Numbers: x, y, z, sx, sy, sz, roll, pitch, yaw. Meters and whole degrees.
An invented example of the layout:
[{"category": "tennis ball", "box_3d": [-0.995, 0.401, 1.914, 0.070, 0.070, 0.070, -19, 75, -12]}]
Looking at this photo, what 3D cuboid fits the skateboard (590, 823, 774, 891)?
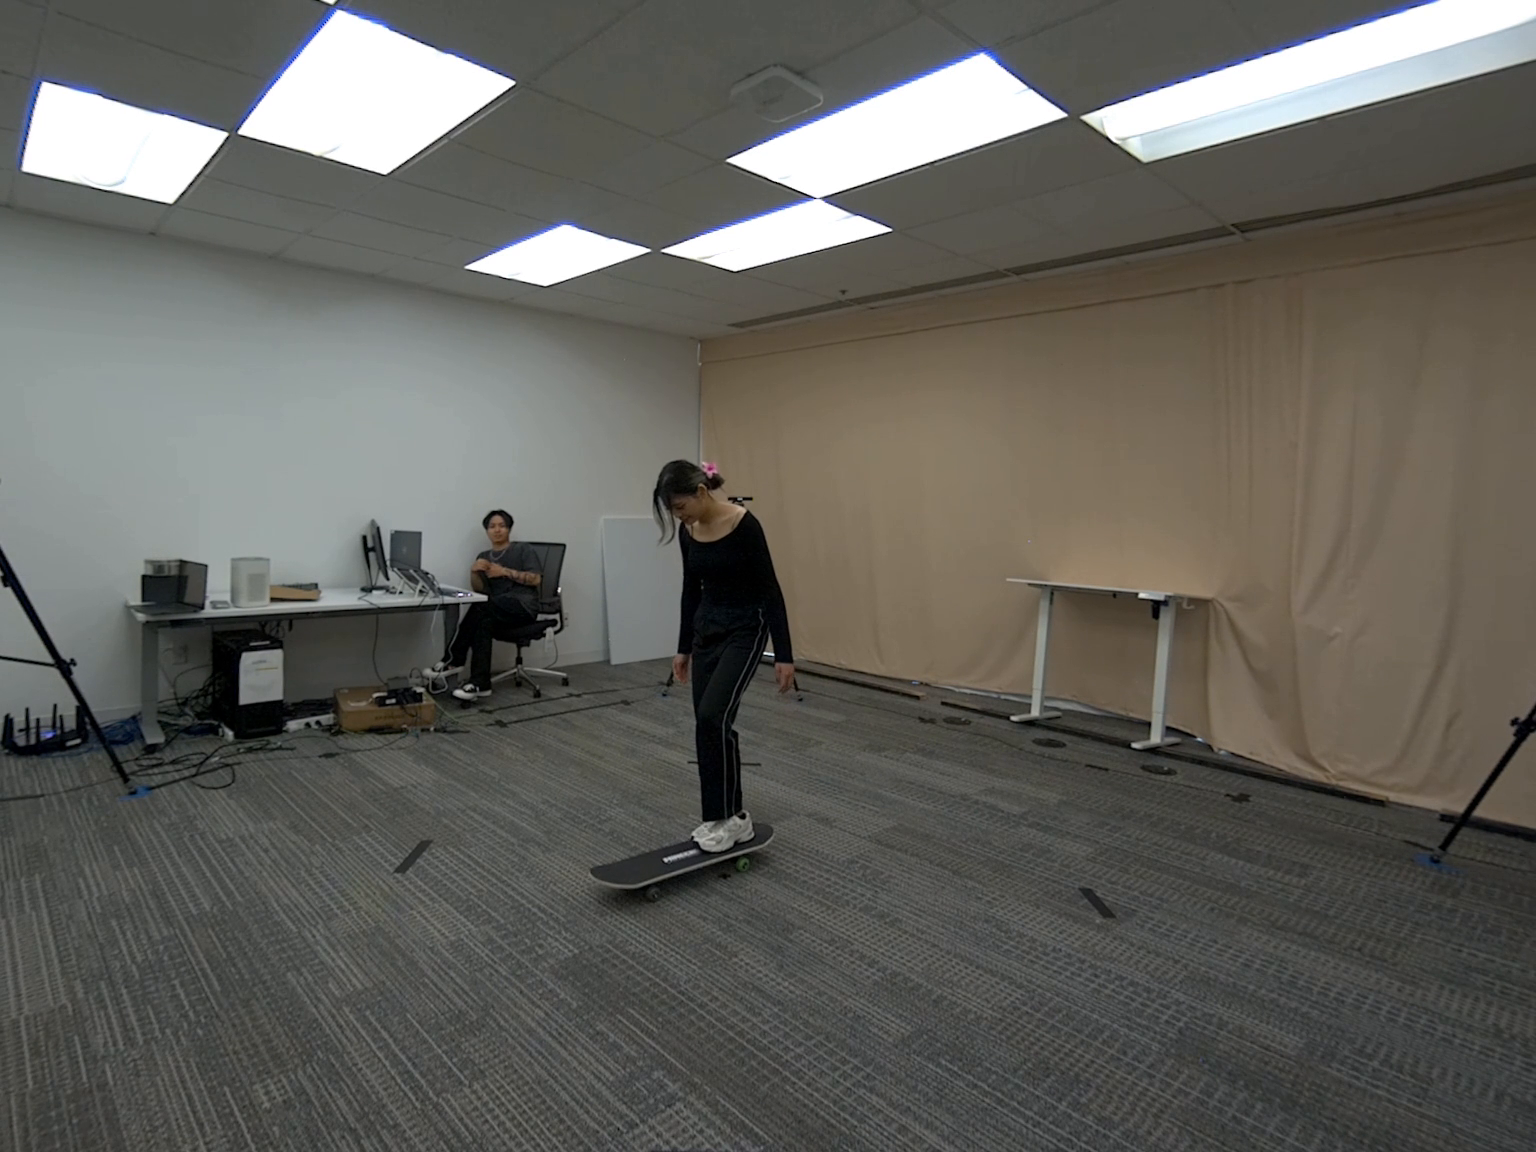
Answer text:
[{"category": "skateboard", "box_3d": [-0.308, 1.054, 3.072, 0.767, 0.110, 0.198, -2, 6, -40]}]
